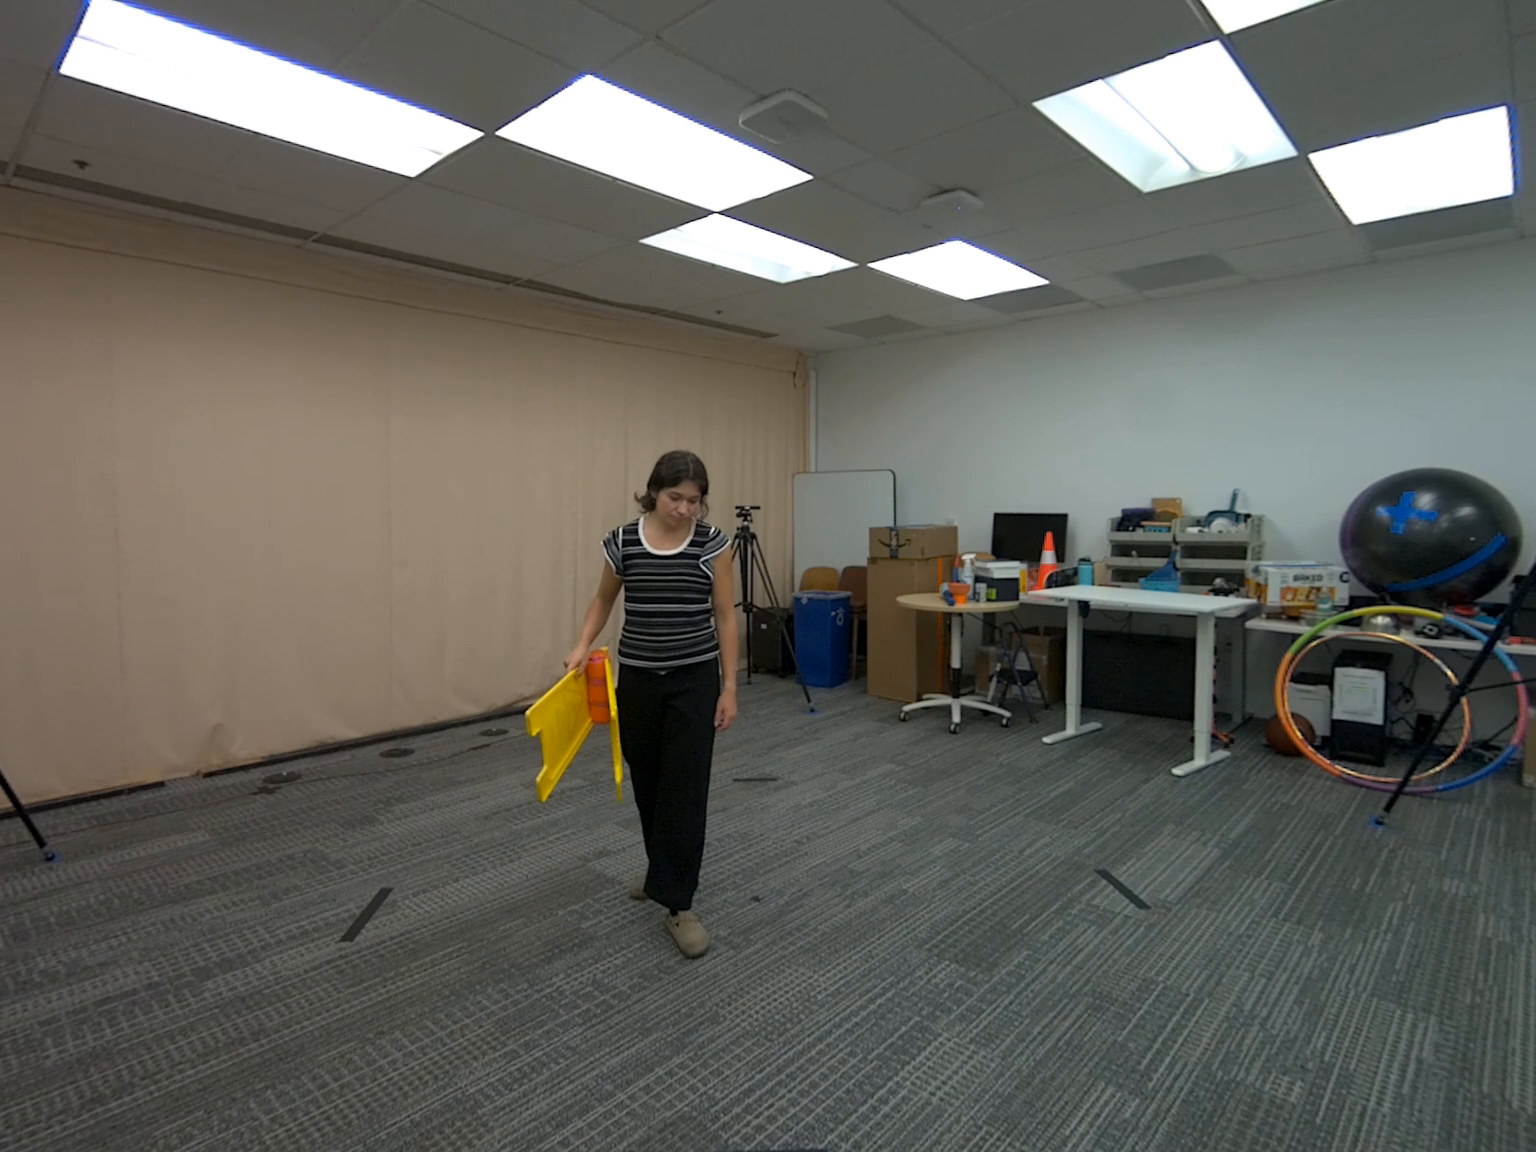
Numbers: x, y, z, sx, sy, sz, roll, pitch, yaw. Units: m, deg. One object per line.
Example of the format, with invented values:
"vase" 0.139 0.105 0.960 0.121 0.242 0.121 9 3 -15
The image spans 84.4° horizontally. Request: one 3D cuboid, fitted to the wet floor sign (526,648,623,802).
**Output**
"wet floor sign" -0.559 0.430 2.679 0.289 0.280 0.654 -1 15 -4
